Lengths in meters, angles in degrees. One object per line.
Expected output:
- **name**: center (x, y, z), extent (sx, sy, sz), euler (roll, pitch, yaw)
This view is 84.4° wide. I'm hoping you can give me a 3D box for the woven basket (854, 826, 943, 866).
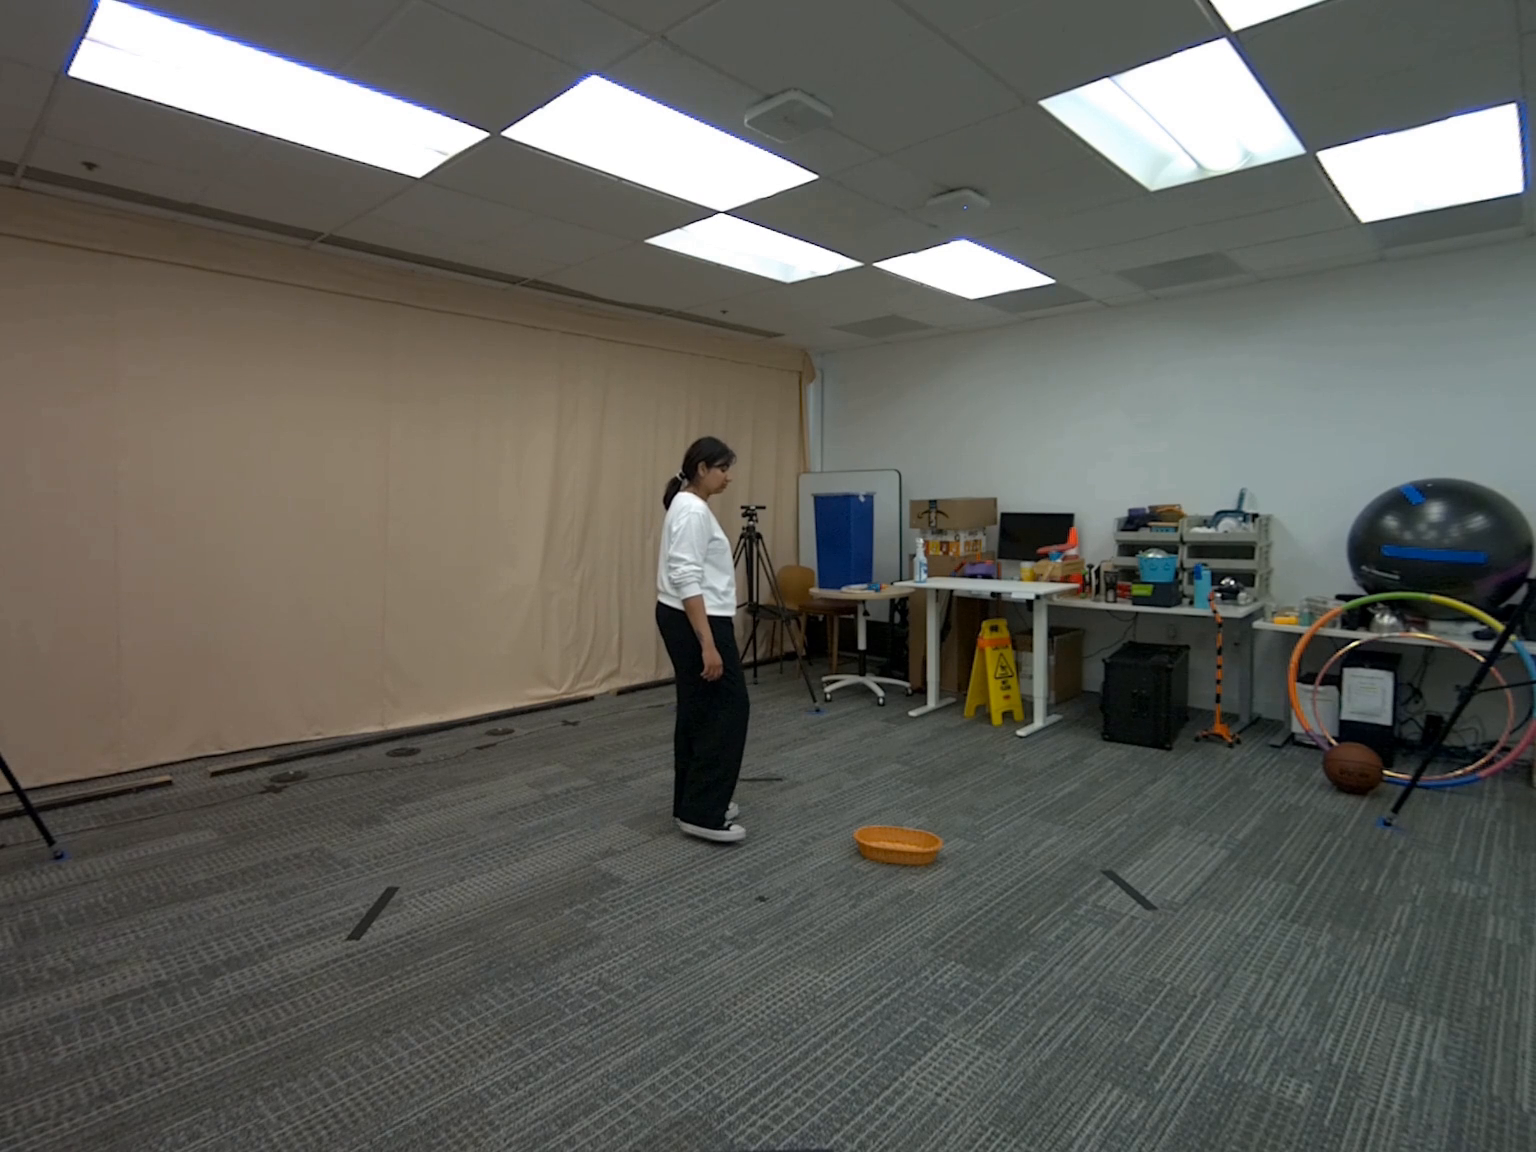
- **woven basket**: center (0.521, 1.074, 3.354), extent (0.357, 0.073, 0.248), euler (1, 3, 17)
